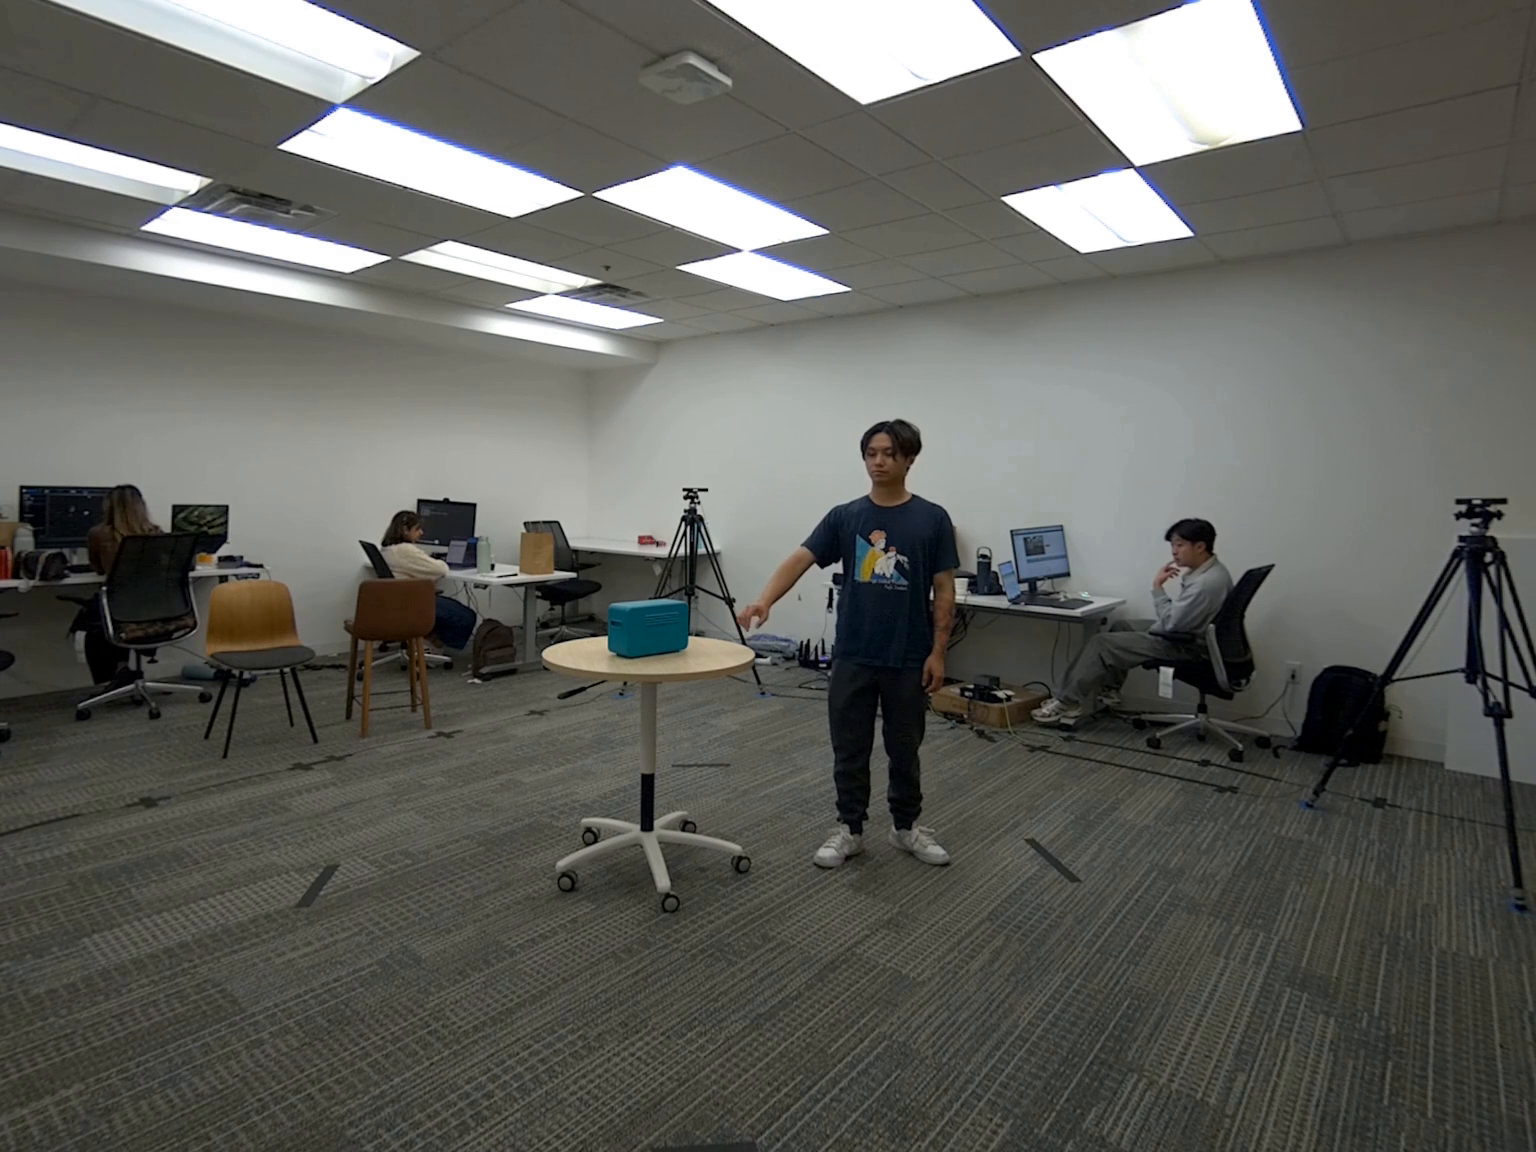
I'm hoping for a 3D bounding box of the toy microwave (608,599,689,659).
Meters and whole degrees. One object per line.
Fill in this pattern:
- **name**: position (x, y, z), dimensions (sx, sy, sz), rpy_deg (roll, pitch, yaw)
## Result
- **toy microwave**: position (-0.446, 0.182, 3.070), dimensions (0.277, 0.183, 0.157), rpy_deg (-3, 5, -43)
